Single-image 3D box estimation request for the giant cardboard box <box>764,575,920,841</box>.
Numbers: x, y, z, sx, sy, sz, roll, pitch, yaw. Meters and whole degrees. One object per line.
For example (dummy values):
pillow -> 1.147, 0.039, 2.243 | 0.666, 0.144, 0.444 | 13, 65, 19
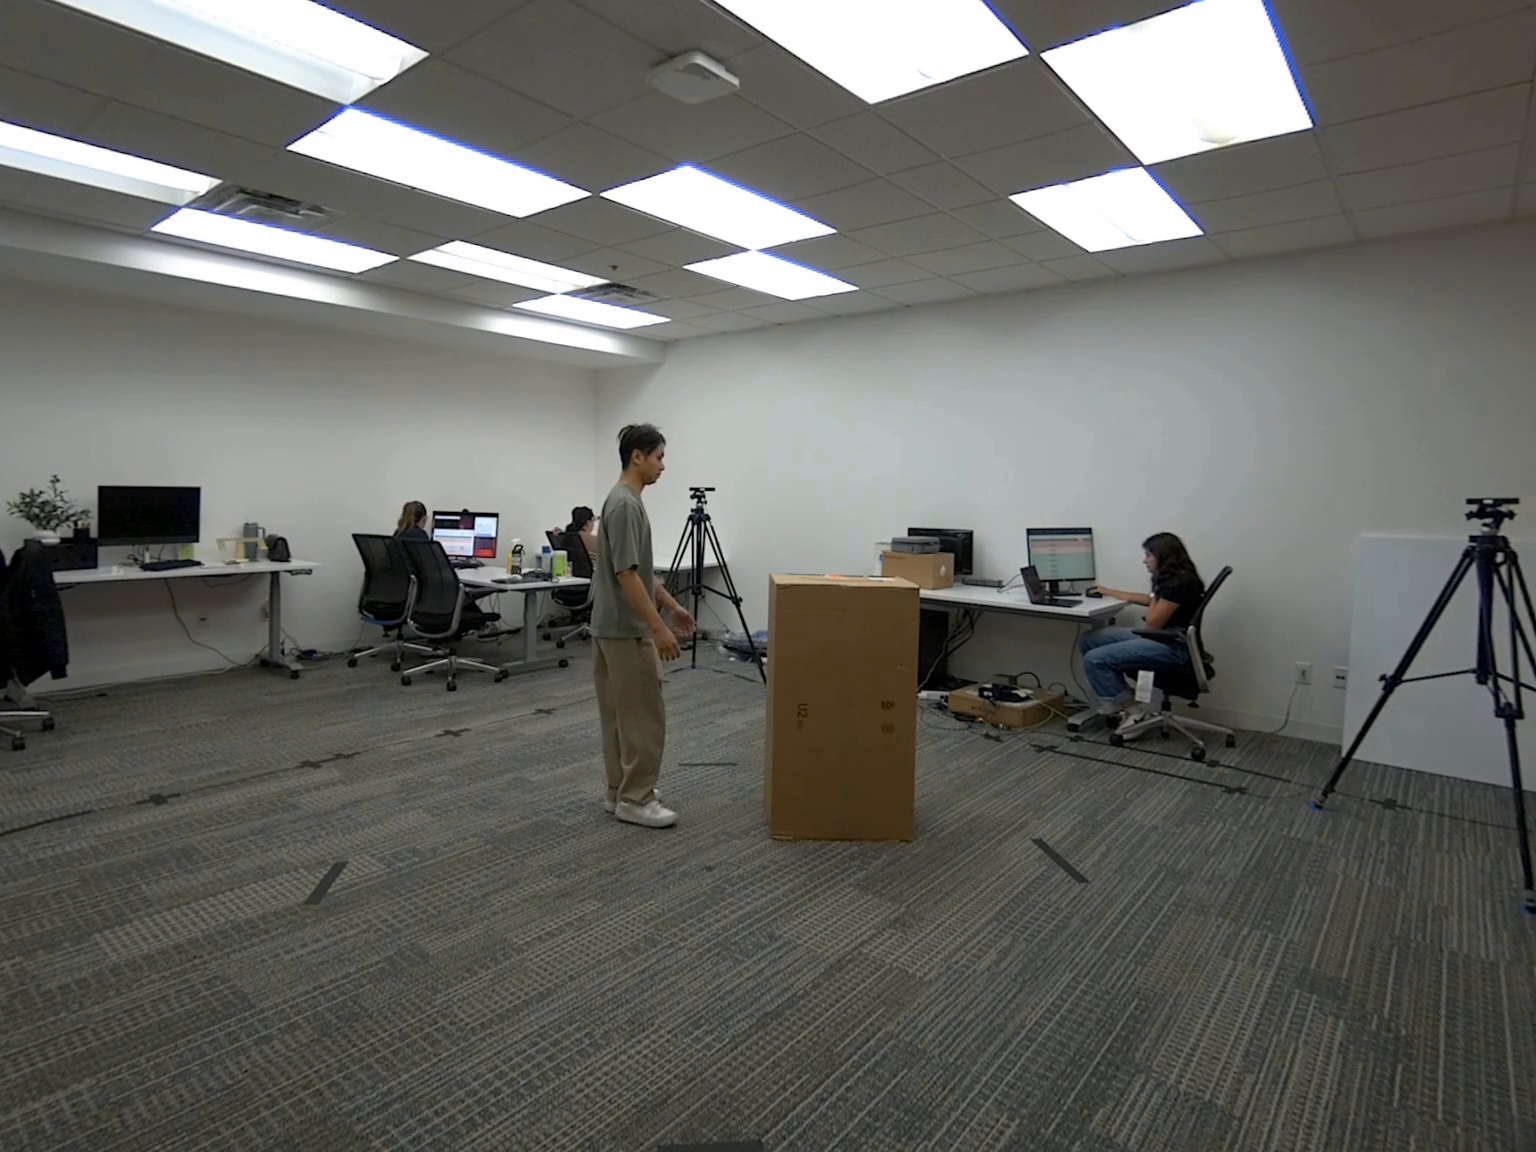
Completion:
giant cardboard box -> 0.288, 0.520, 3.572 | 0.577, 1.022, 0.428 | 1, 4, -1
